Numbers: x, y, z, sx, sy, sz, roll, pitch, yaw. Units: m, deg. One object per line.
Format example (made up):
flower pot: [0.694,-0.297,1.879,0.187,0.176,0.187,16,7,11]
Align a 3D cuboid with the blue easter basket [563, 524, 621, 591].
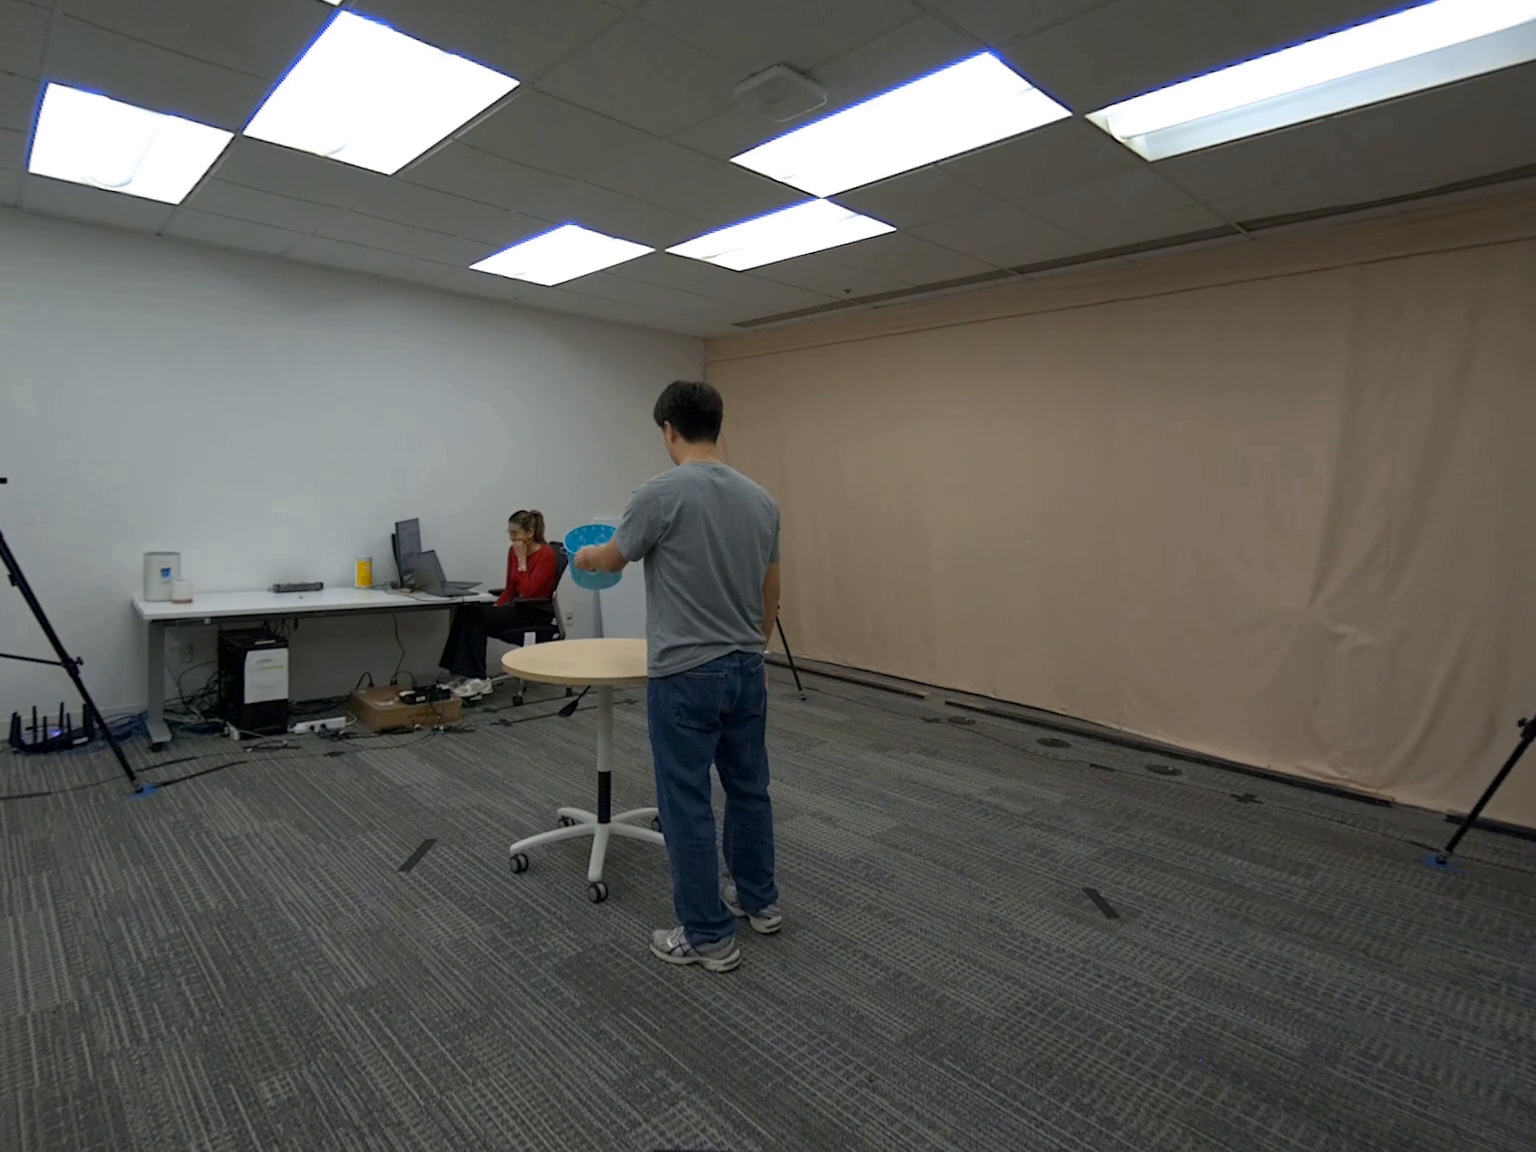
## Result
blue easter basket: [-0.626,-0.060,3.015,0.243,0.153,0.248,0,32,-2]
